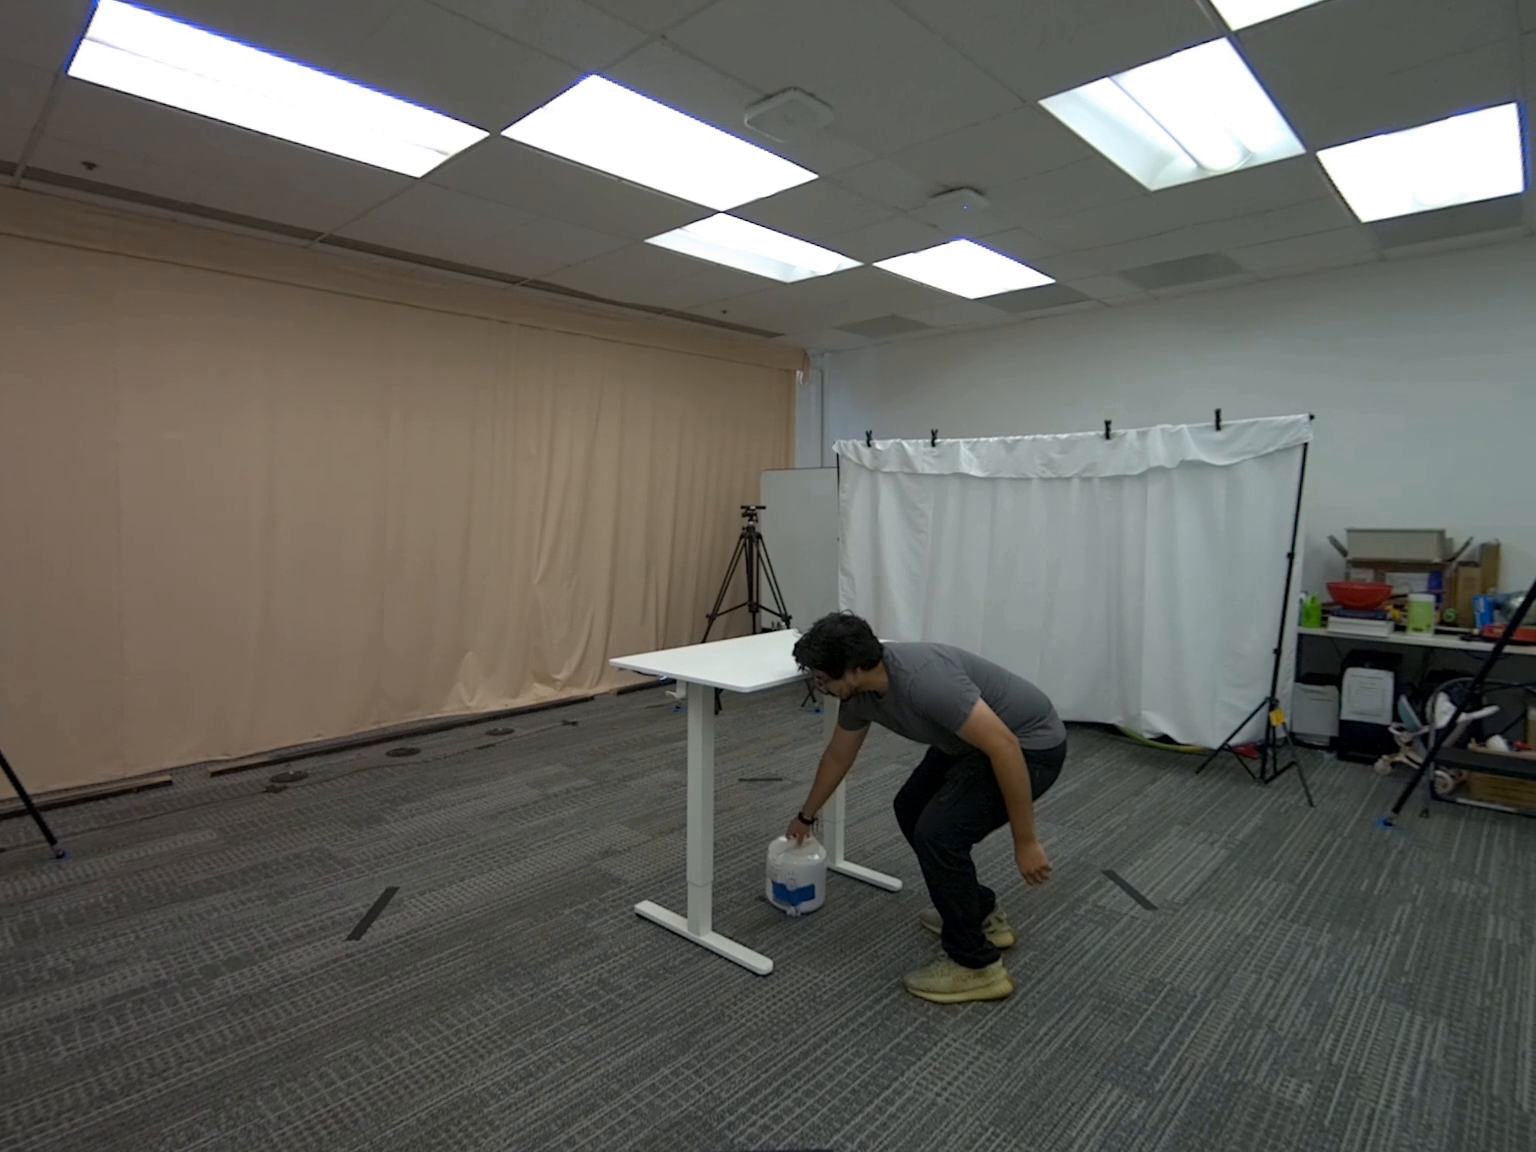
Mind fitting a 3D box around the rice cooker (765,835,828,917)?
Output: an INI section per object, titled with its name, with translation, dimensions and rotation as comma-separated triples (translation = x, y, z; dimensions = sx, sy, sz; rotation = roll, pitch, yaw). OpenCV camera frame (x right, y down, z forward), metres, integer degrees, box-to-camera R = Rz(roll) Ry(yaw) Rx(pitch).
[rice cooker]
translation = 0.100, 1.028, 2.940
dimensions = 0.214, 0.232, 0.225
rotation = -3, 10, -35
